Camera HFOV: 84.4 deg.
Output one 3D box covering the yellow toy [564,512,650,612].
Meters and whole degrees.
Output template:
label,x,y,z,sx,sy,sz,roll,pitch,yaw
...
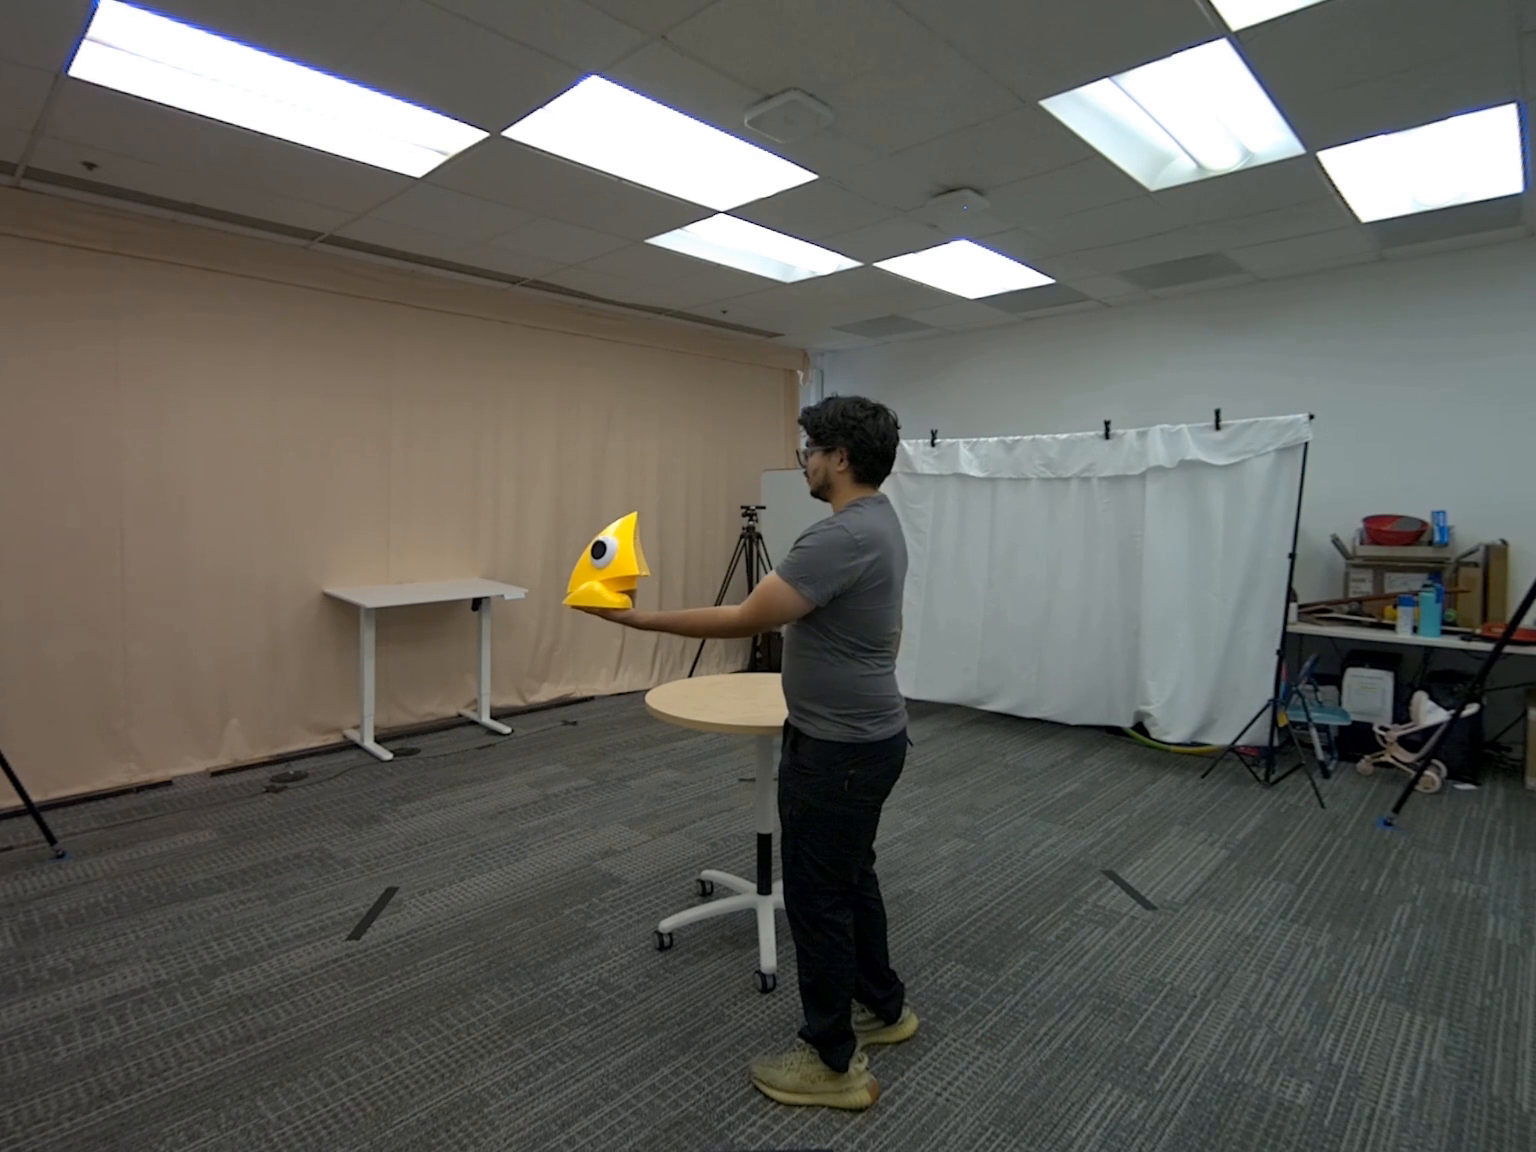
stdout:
label,x,y,z,sx,sy,sz,roll,pitch,yaw
yellow toy,-0.376,-0.041,2.008,0.193,0.231,0.204,4,-2,1
